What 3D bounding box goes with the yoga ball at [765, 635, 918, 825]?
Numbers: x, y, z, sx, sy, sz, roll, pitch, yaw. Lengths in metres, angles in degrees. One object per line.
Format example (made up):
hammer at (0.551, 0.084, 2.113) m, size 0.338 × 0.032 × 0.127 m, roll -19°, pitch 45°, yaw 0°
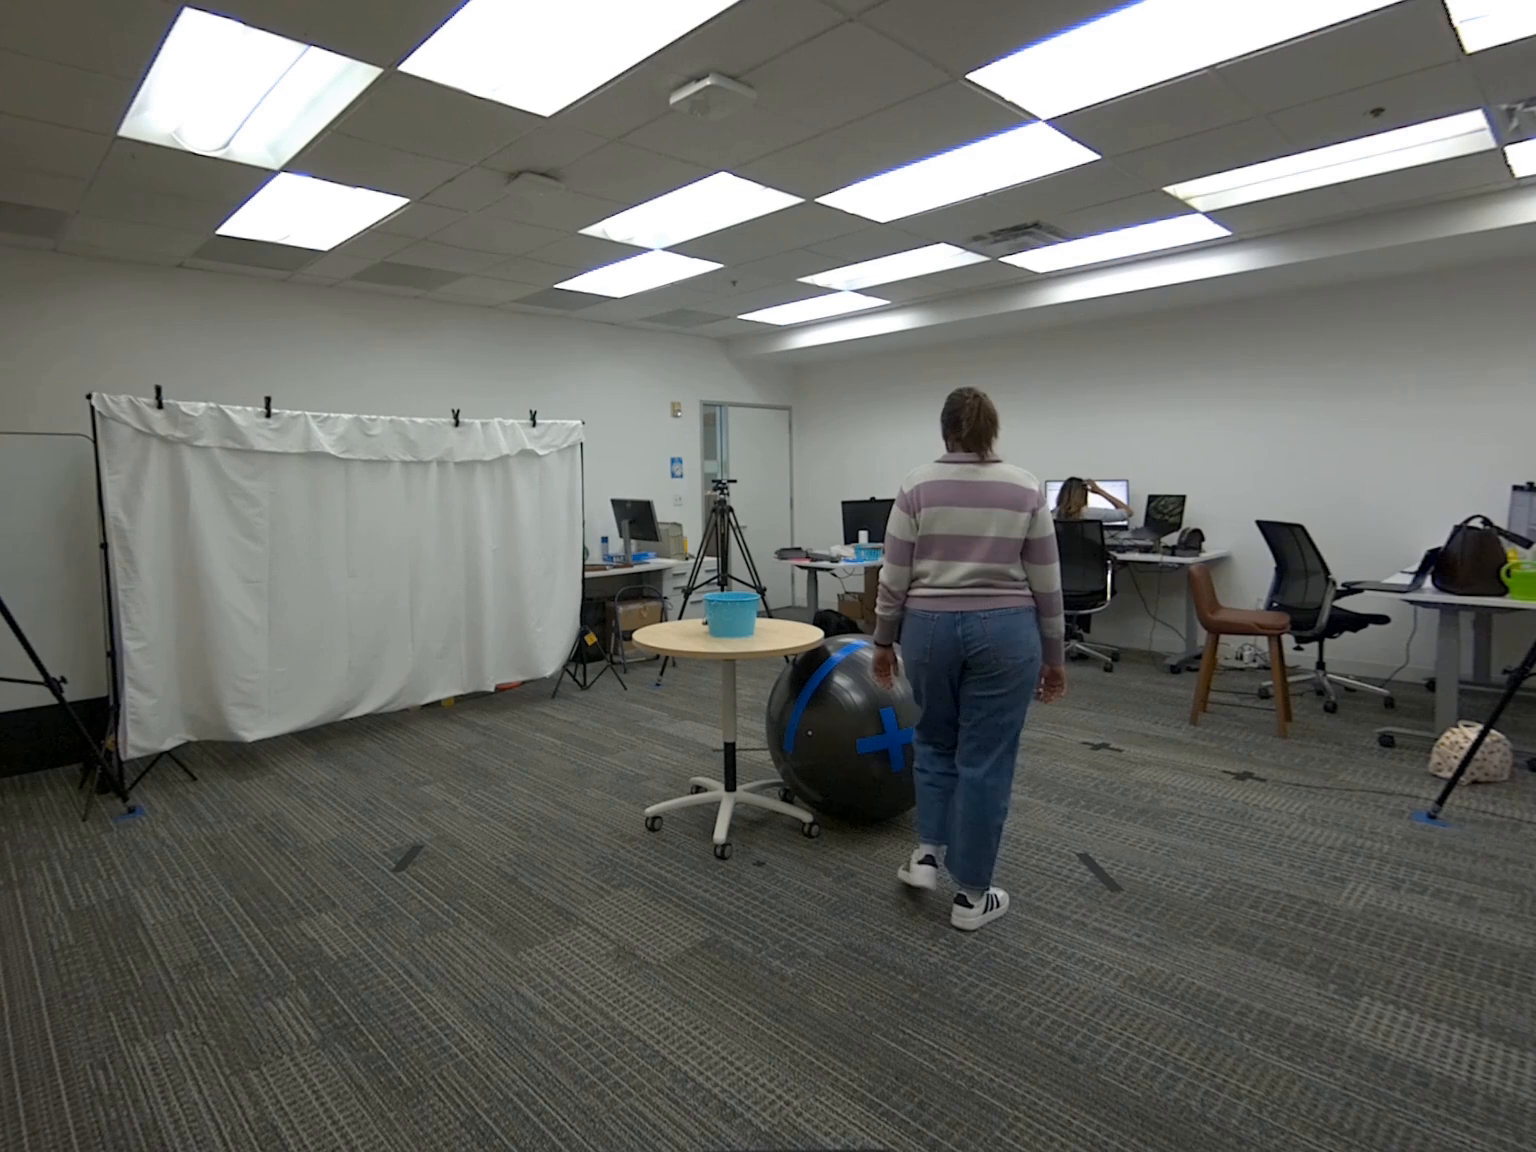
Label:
yoga ball at (0.373, 0.621, 3.534) m, size 0.757 × 0.755 × 0.762 m, roll -1°, pitch 5°, yaw -2°
